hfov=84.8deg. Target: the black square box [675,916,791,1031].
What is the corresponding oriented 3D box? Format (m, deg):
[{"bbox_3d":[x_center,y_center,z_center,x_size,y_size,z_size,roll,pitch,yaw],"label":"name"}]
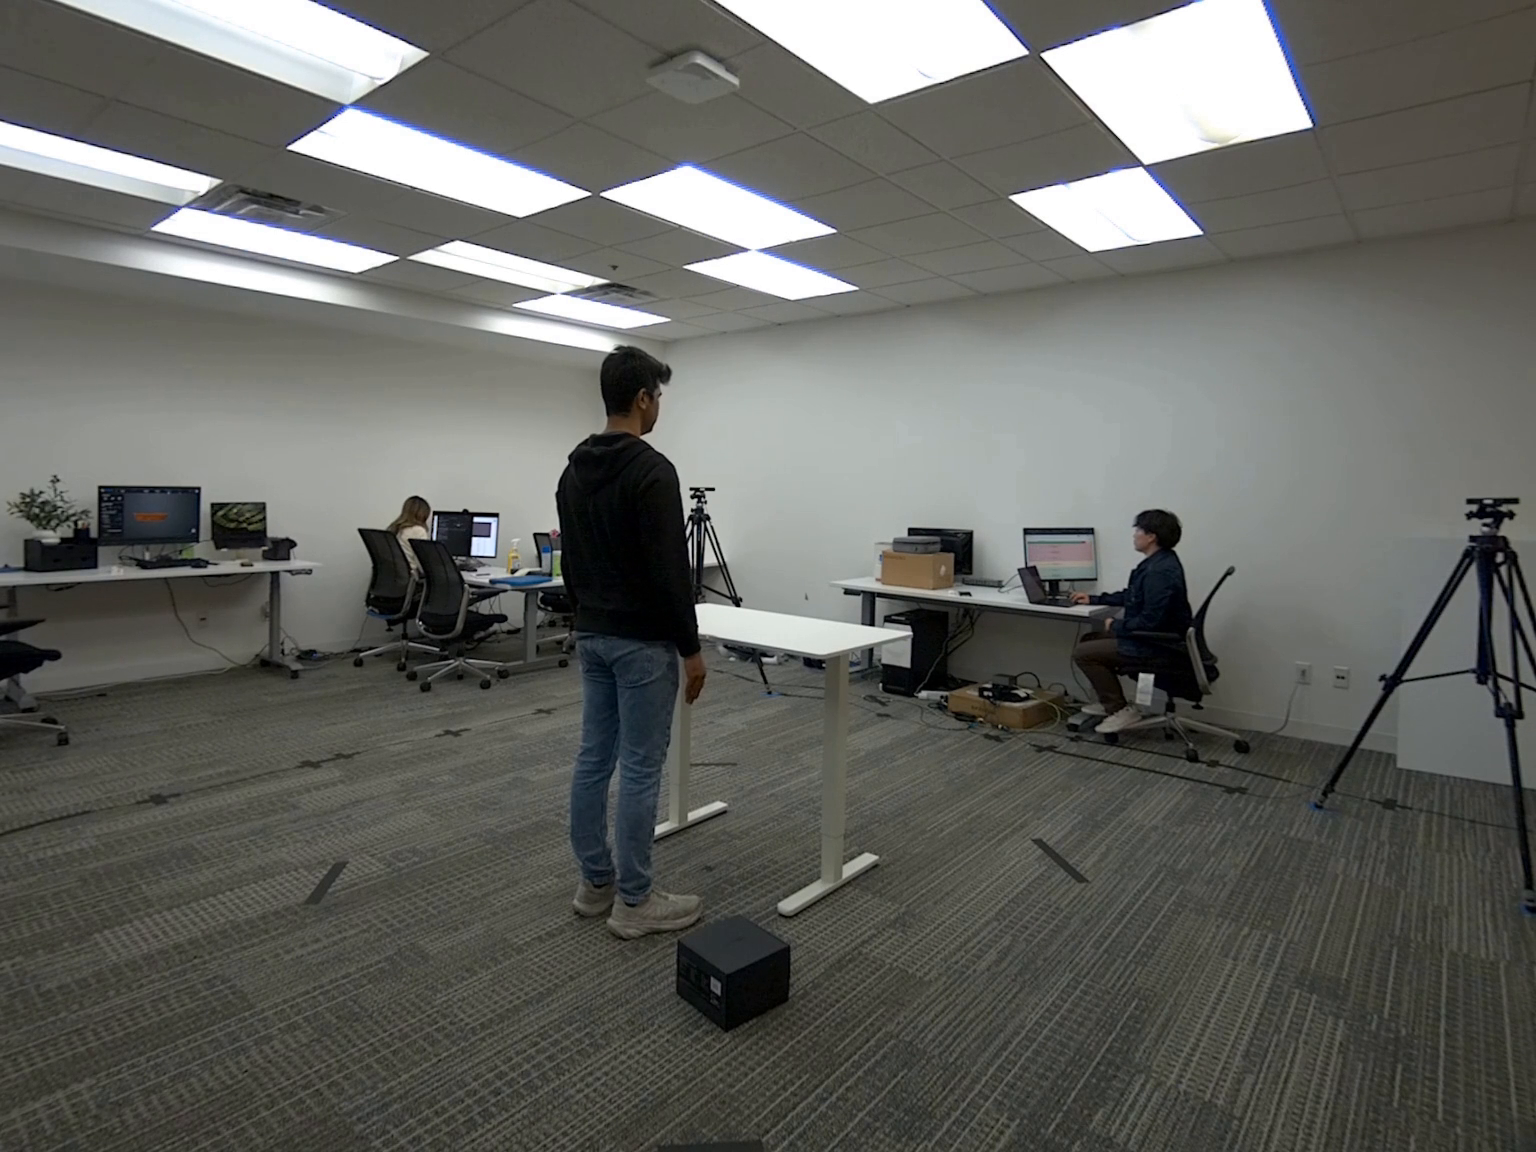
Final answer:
[{"bbox_3d":[-0.102,1.064,2.318,0.221,0.155,0.224,-3,7,-42],"label":"black square box"}]
